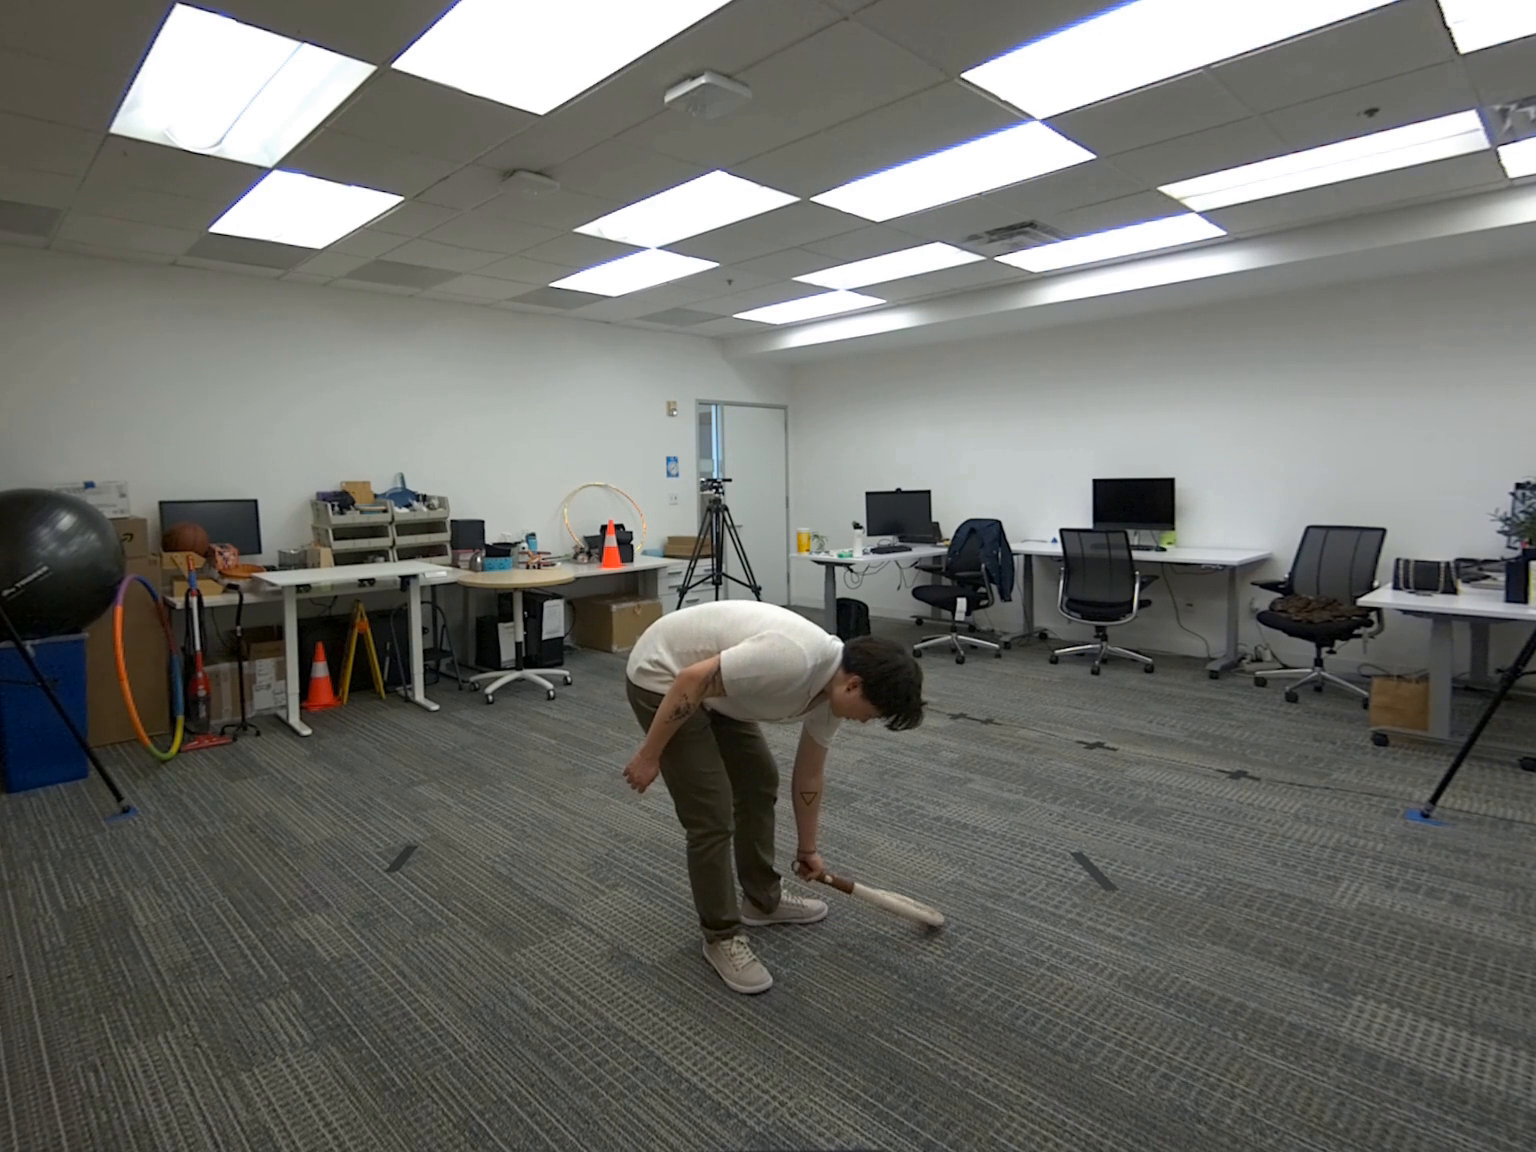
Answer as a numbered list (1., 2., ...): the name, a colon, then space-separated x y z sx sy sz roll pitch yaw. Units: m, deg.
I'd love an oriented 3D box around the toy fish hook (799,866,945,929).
1. toy fish hook: 0.302 0.980 2.671 0.506 0.048 0.223 21 -12 -2
